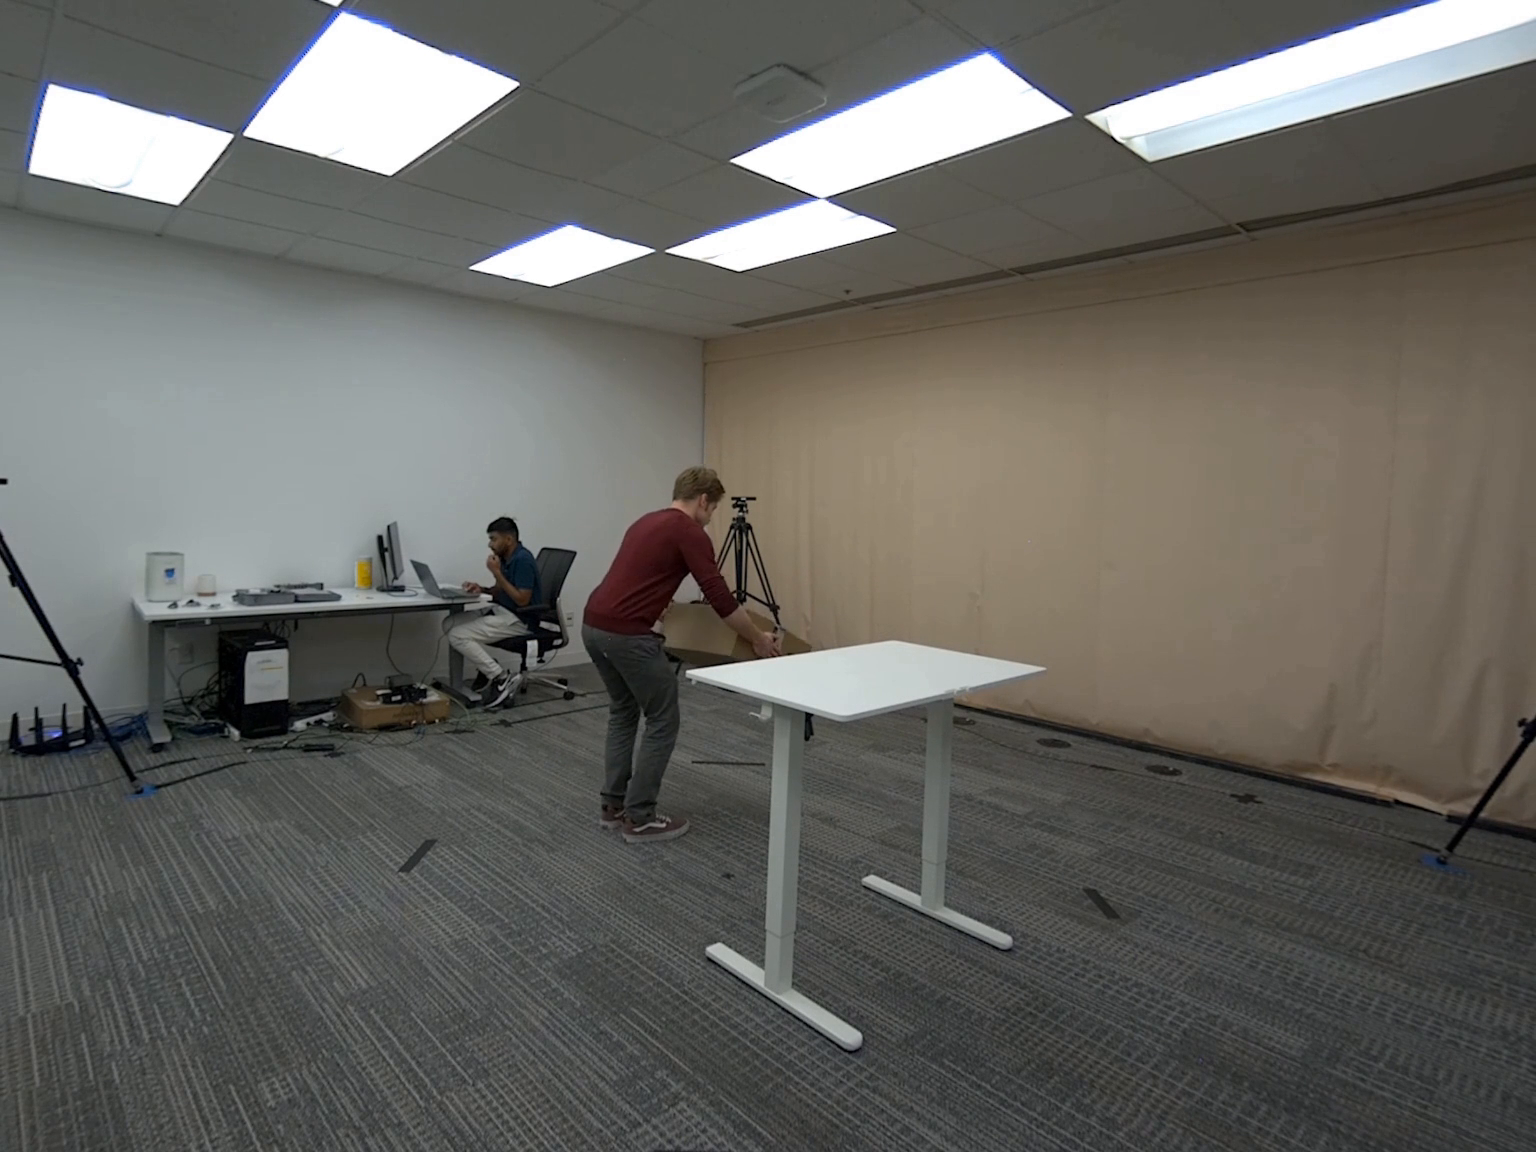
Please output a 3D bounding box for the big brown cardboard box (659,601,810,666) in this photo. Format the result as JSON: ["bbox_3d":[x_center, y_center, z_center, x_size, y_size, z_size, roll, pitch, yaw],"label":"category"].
[{"bbox_3d":[-0.179,0.316,3.787,0.405,0.234,0.603,30,-17,-37],"label":"big brown cardboard box"}]
